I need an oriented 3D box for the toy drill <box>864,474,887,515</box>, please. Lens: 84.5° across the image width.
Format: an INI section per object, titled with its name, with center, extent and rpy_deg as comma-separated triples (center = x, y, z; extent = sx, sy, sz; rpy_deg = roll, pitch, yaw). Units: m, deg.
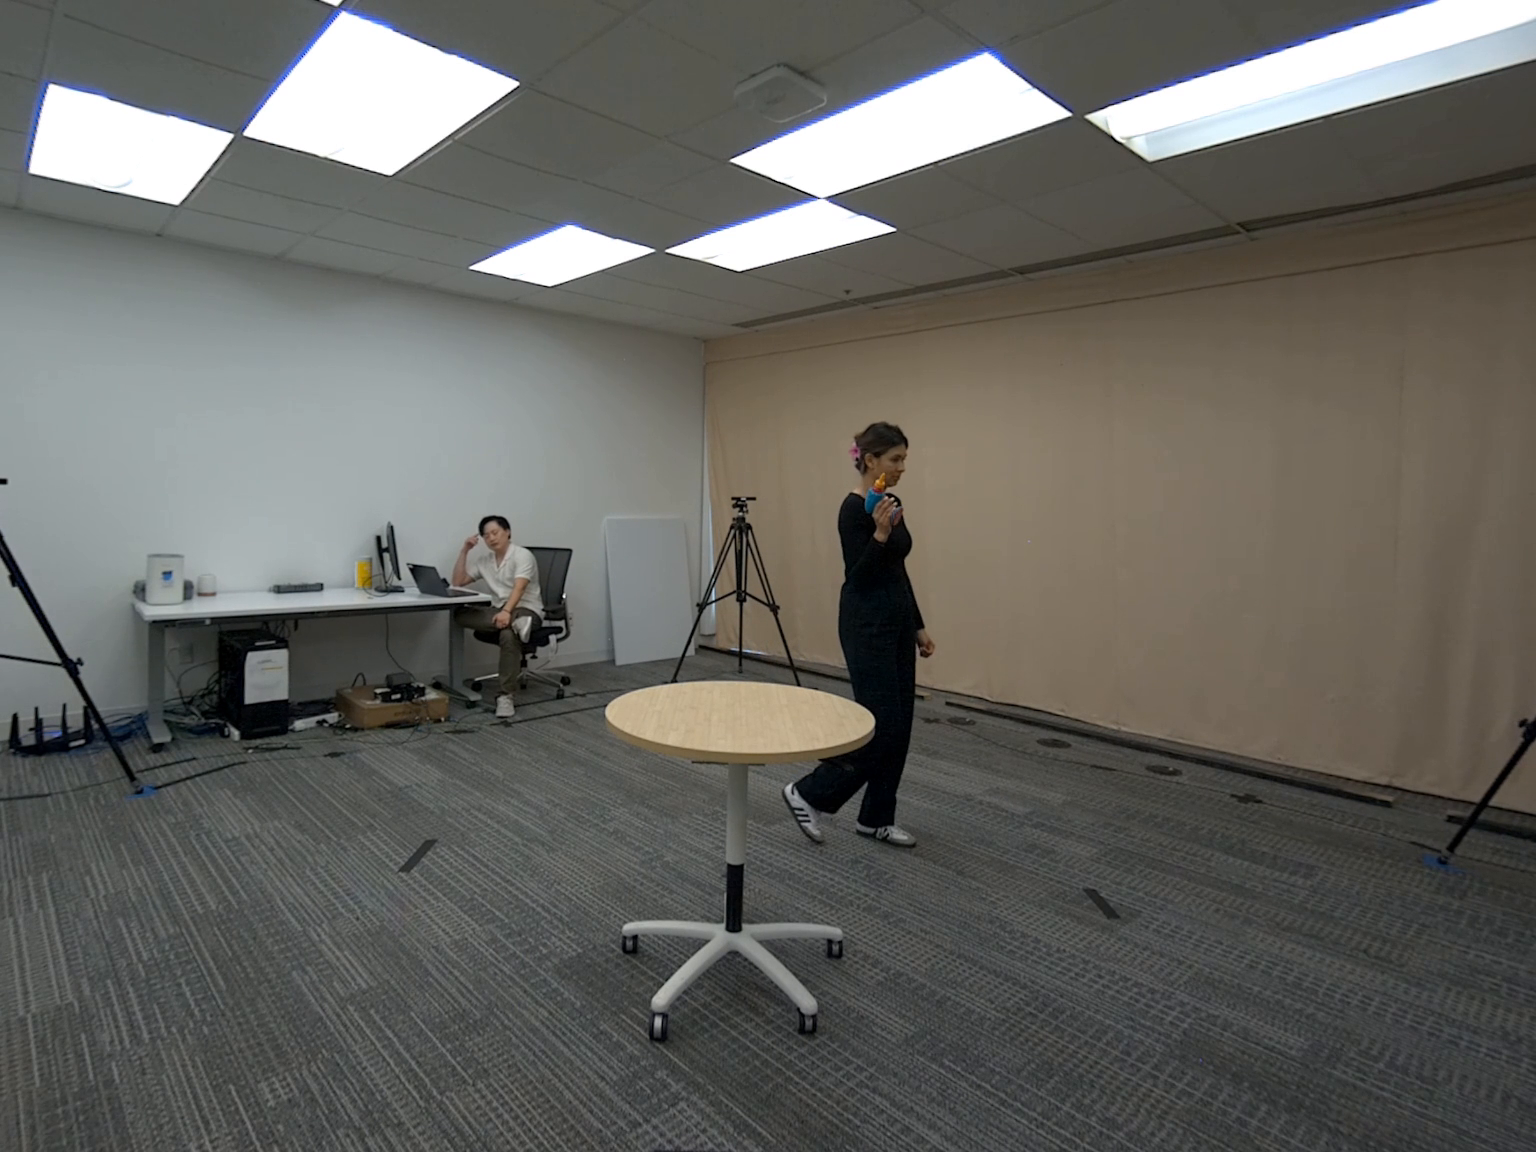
[toy drill]
center = 0.412, -0.284, 3.062
extent = 0.150, 0.167, 0.060
rpy_deg = 34, 35, 26
